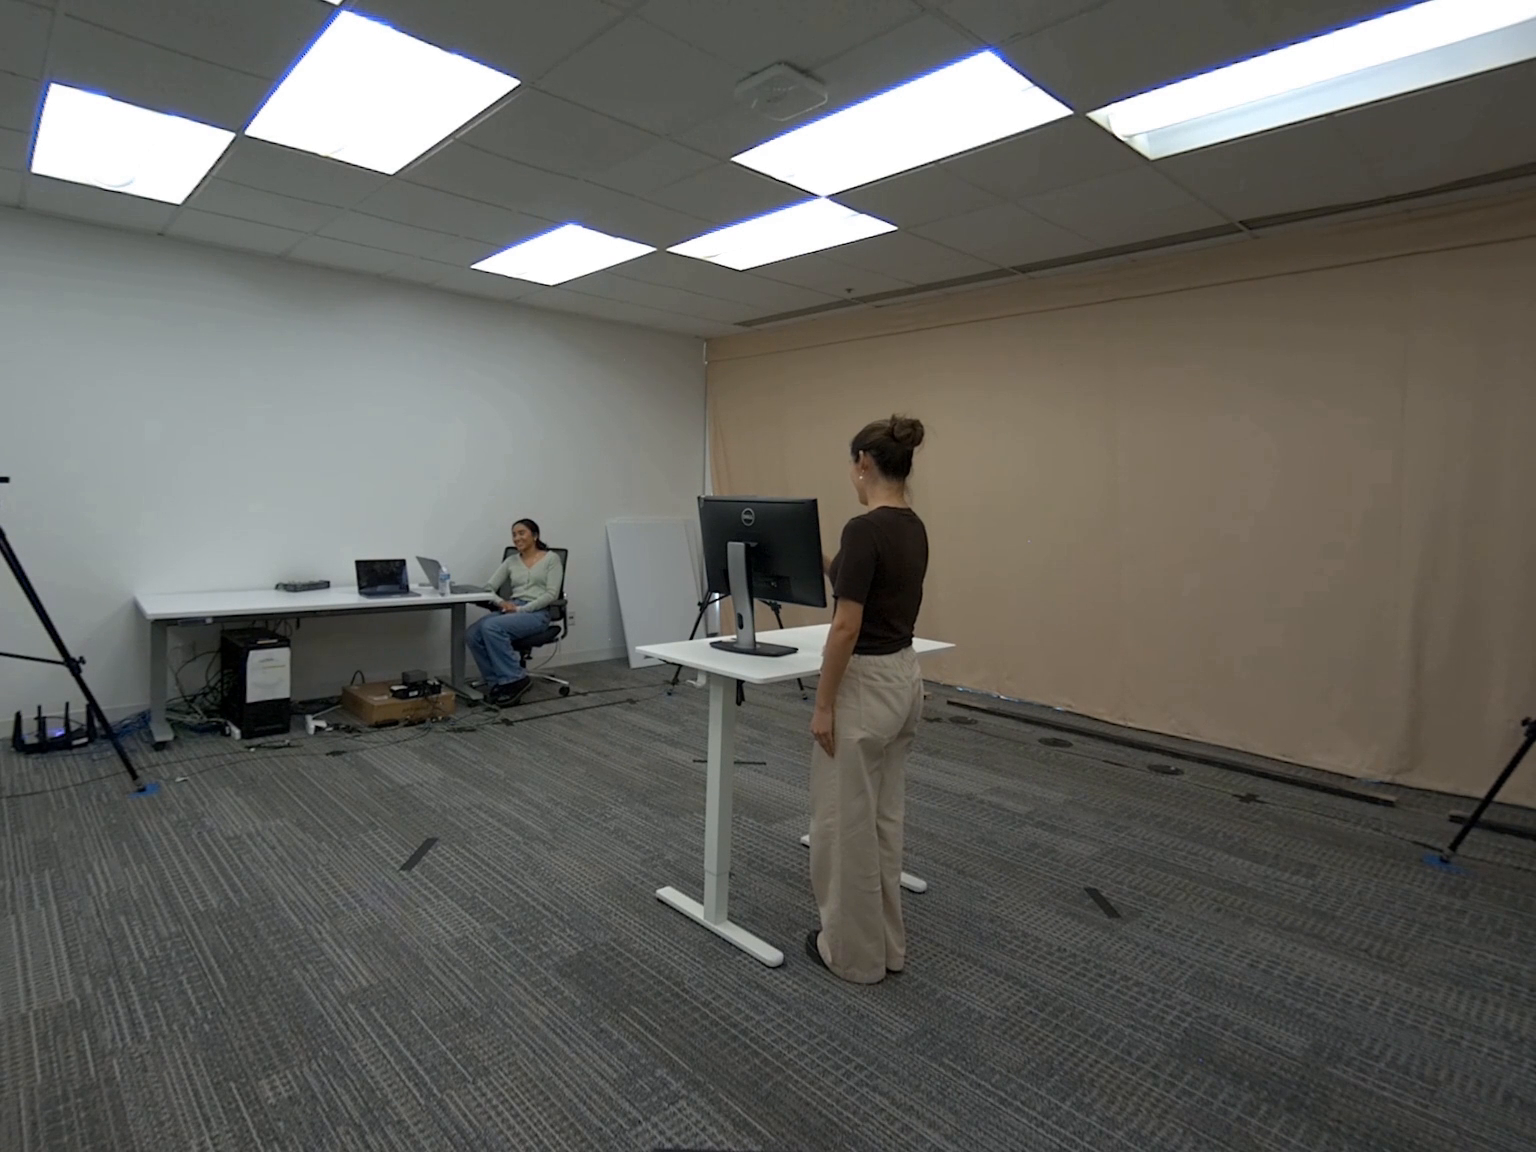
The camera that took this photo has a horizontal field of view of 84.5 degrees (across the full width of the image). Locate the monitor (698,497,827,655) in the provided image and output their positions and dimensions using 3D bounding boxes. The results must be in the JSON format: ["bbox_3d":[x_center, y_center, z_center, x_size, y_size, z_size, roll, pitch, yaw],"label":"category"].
[{"bbox_3d":[-0.057,-0.003,2.797,0.553,0.521,0.183,5,4,43],"label":"monitor"}]
